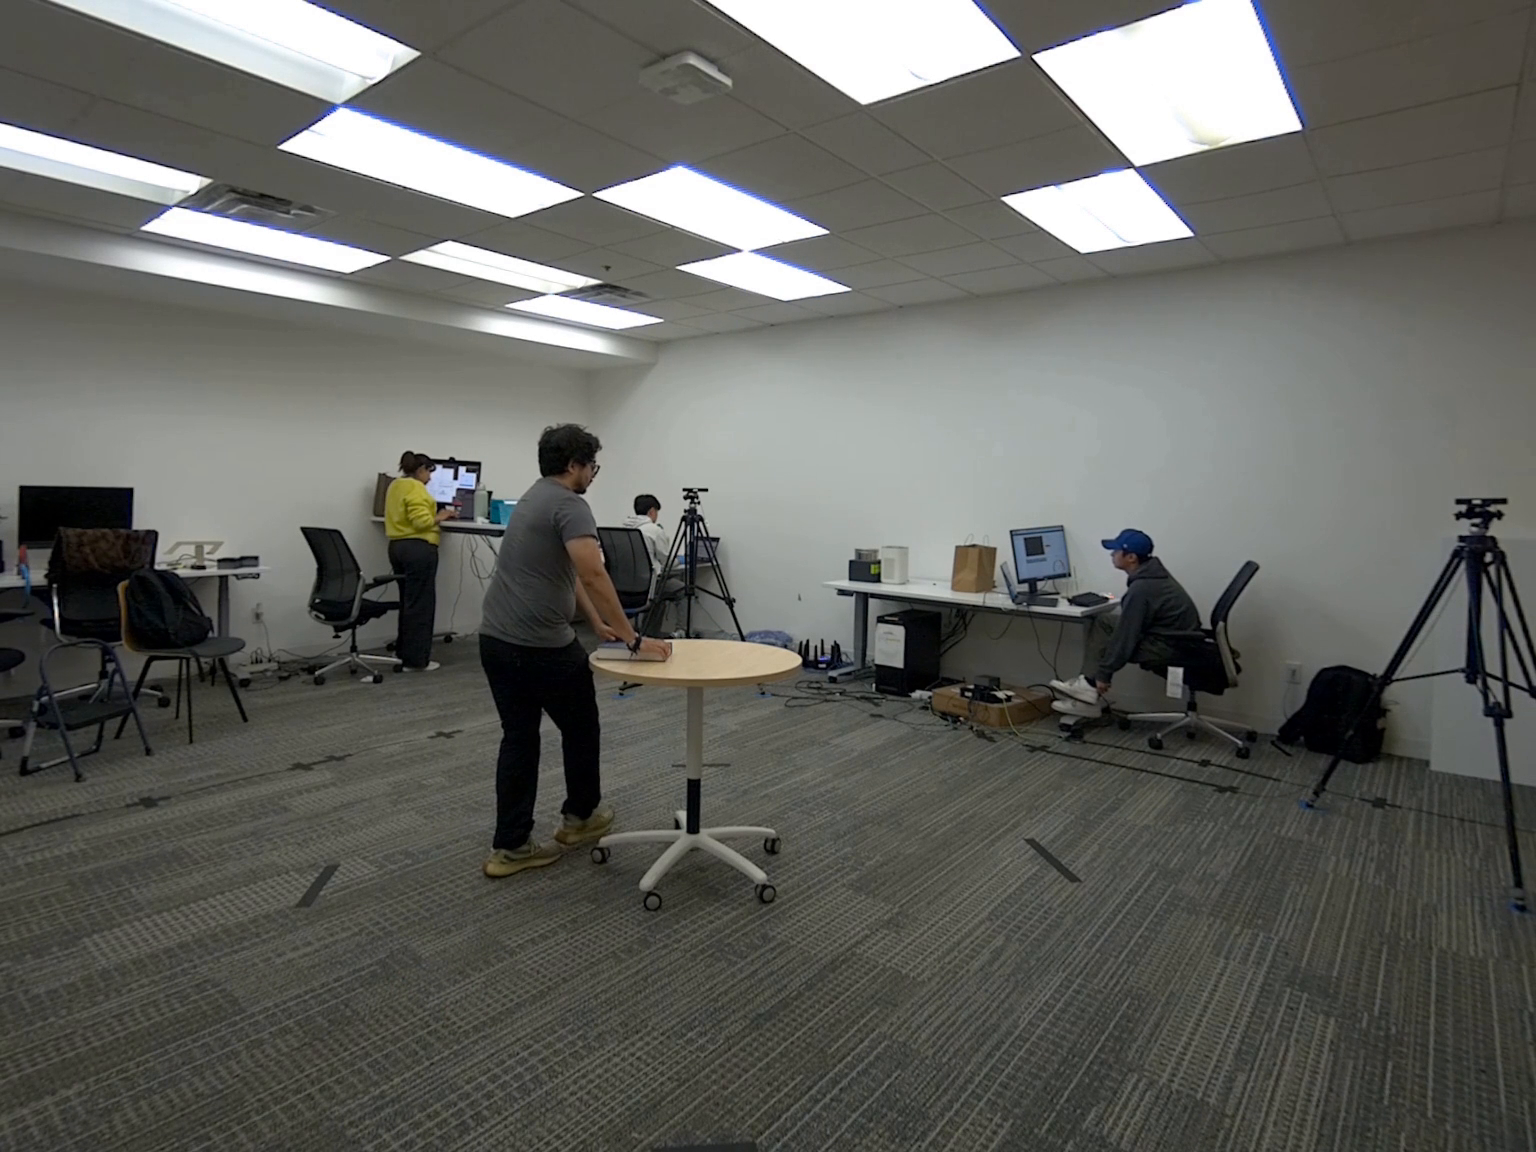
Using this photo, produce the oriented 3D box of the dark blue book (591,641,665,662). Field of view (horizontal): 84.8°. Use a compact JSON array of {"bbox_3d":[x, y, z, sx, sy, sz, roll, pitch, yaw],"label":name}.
[{"bbox_3d":[-0.487,0.270,3.059,0.246,0.045,0.163,1,6,4],"label":"dark blue book"}]
